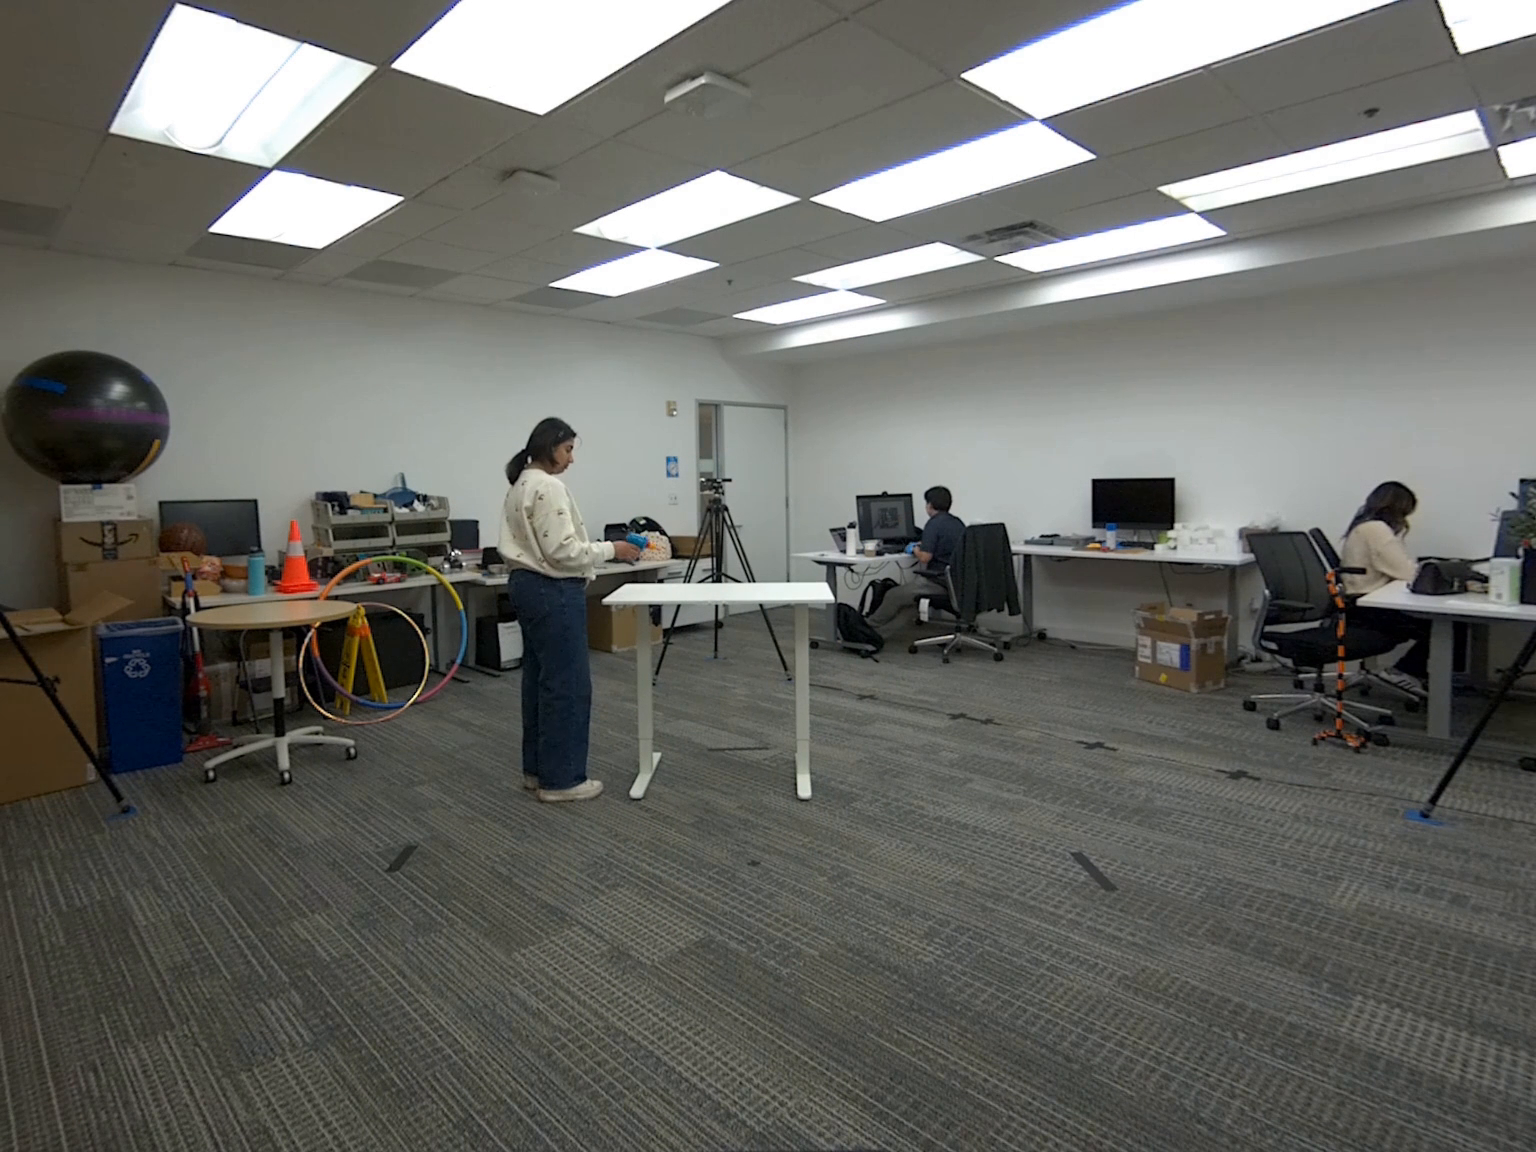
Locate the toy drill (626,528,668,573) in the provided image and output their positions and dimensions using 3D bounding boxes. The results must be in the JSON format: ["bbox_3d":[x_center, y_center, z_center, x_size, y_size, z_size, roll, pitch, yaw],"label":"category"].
[{"bbox_3d":[-0.558,-0.115,3.825,0.169,0.146,0.061,19,0,-2],"label":"toy drill"}]
